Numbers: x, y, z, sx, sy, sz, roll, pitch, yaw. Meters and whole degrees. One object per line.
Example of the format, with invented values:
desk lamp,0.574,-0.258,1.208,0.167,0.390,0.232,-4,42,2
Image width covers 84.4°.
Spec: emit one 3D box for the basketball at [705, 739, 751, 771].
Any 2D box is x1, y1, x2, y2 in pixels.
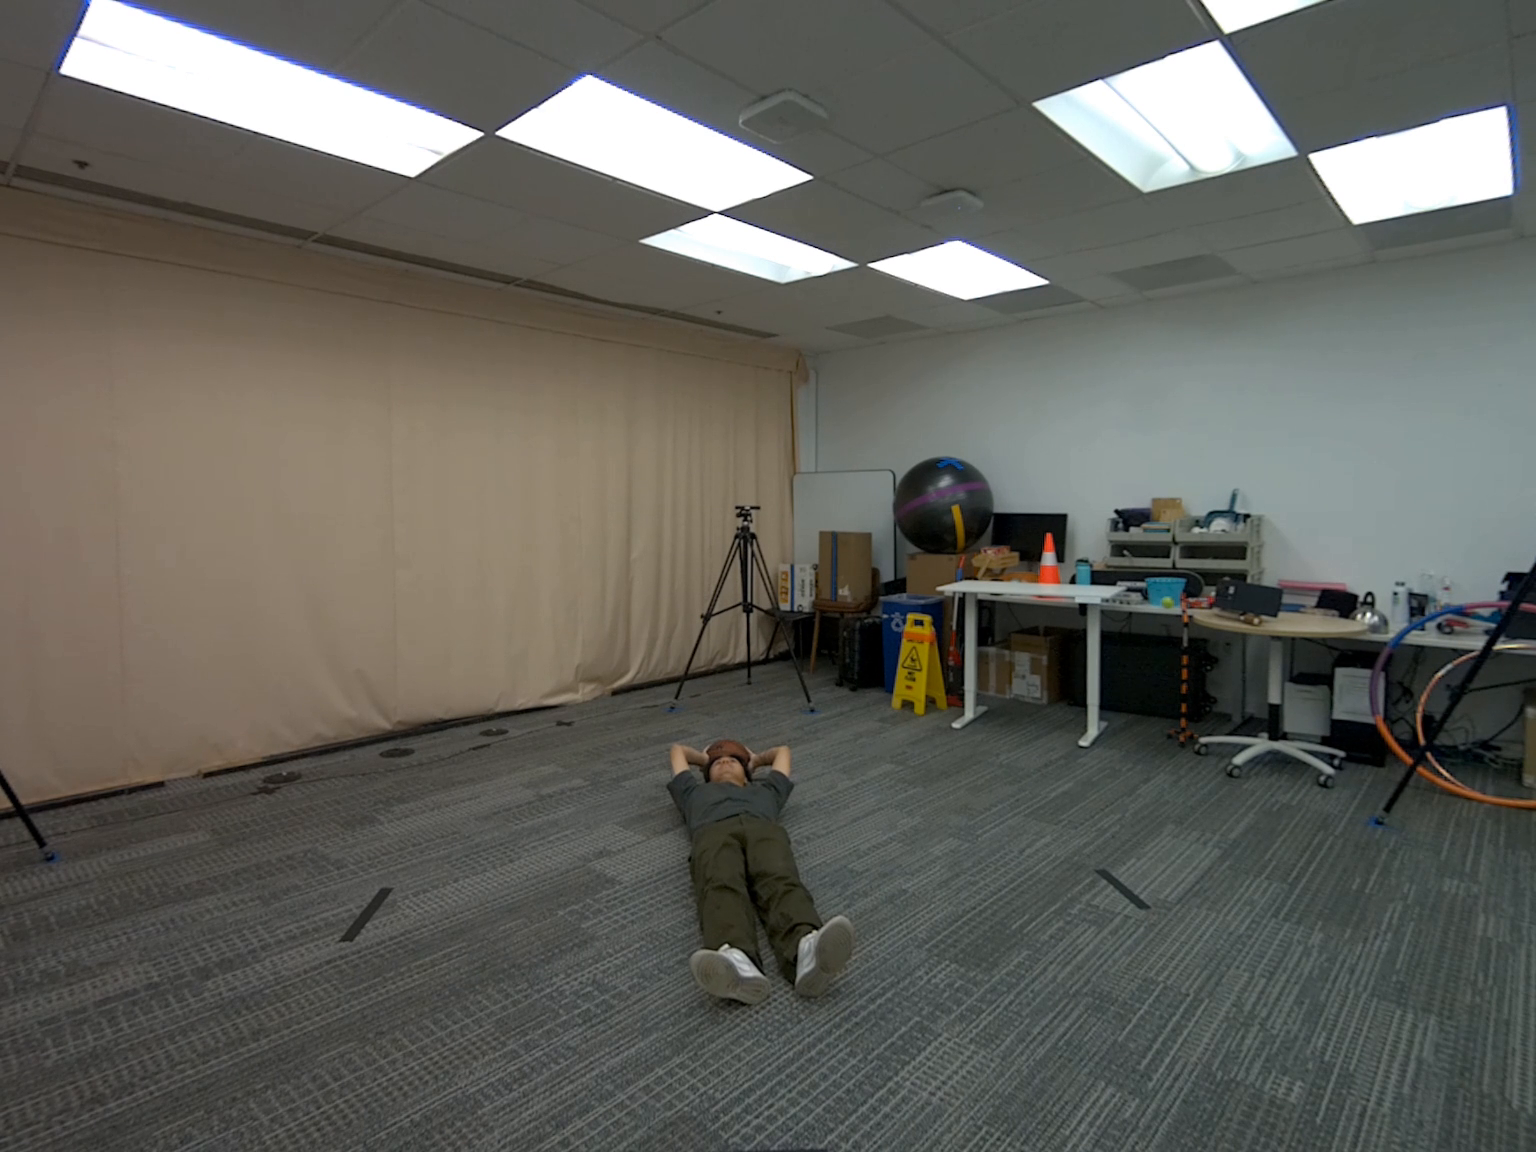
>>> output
basketball,-0.203,0.930,4.185,0.236,0.235,0.237,0,4,-2
